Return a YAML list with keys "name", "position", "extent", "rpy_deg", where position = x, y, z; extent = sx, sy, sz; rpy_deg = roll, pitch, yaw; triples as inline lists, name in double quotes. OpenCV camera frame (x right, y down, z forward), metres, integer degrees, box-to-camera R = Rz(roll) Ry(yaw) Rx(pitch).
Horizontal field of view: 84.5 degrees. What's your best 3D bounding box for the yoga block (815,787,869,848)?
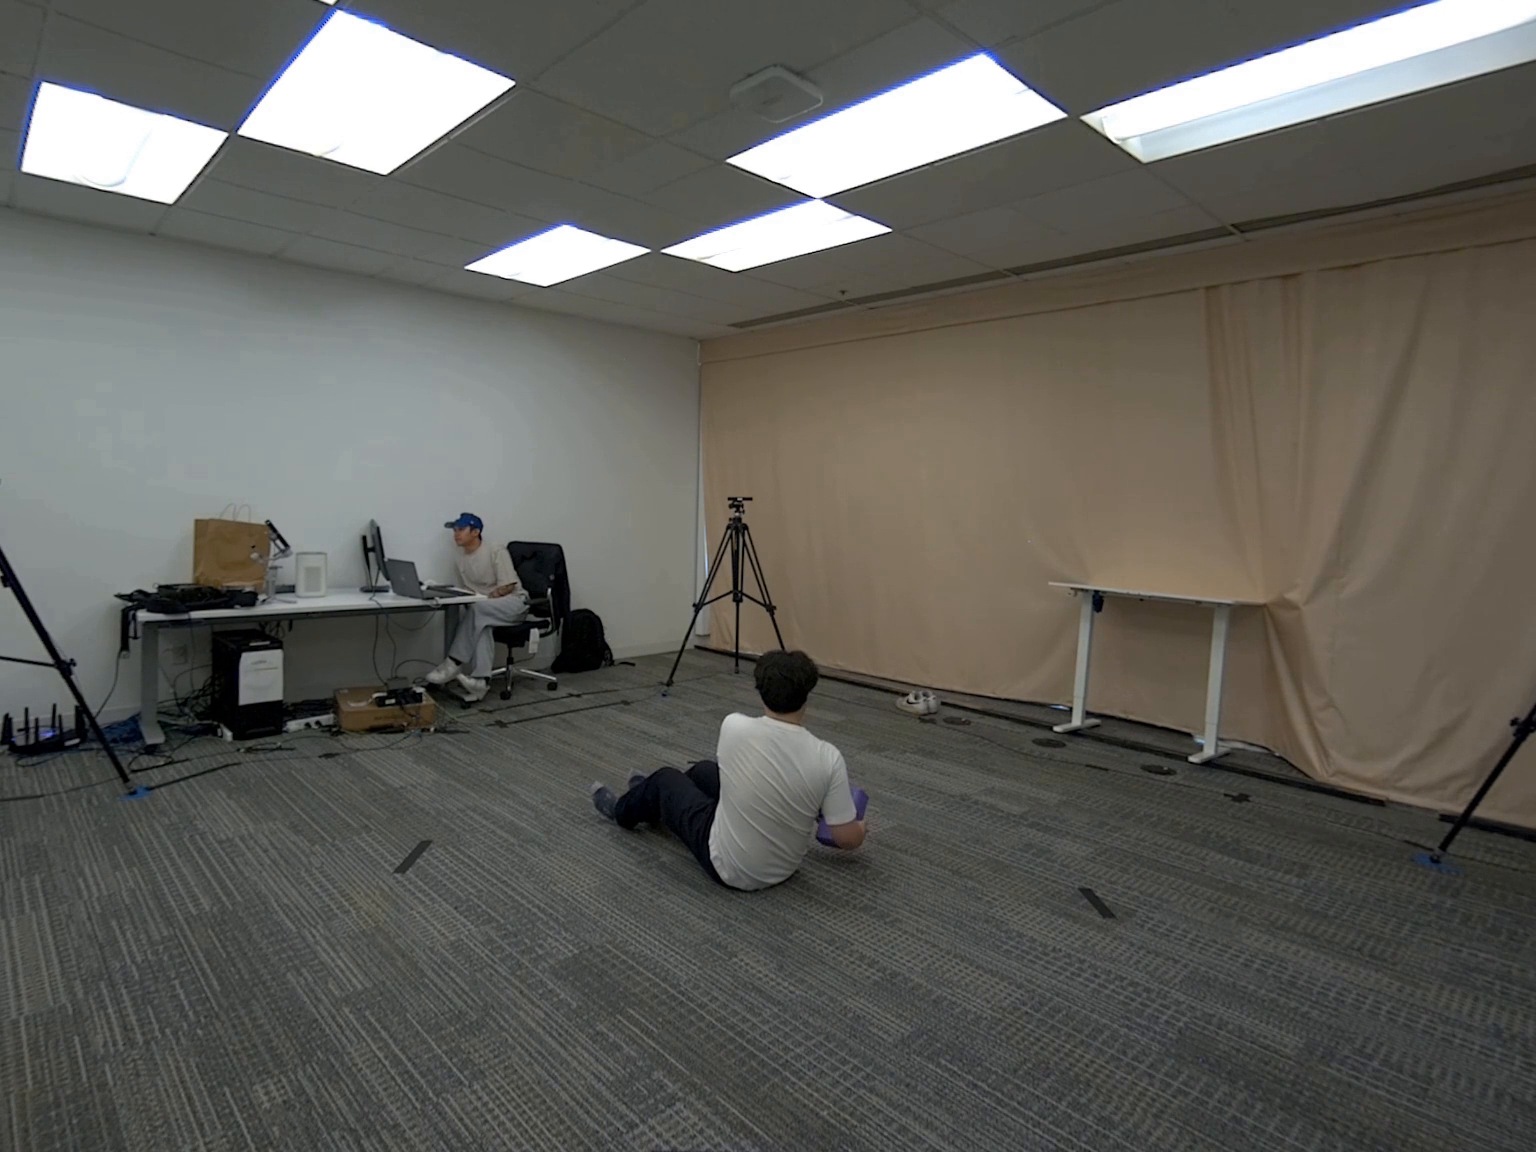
- name: "yoga block"
  position: [0.279, 0.945, 3.315]
  extent: [0.152, 0.231, 0.074]
  rpy_deg: [-3, -38, 36]
